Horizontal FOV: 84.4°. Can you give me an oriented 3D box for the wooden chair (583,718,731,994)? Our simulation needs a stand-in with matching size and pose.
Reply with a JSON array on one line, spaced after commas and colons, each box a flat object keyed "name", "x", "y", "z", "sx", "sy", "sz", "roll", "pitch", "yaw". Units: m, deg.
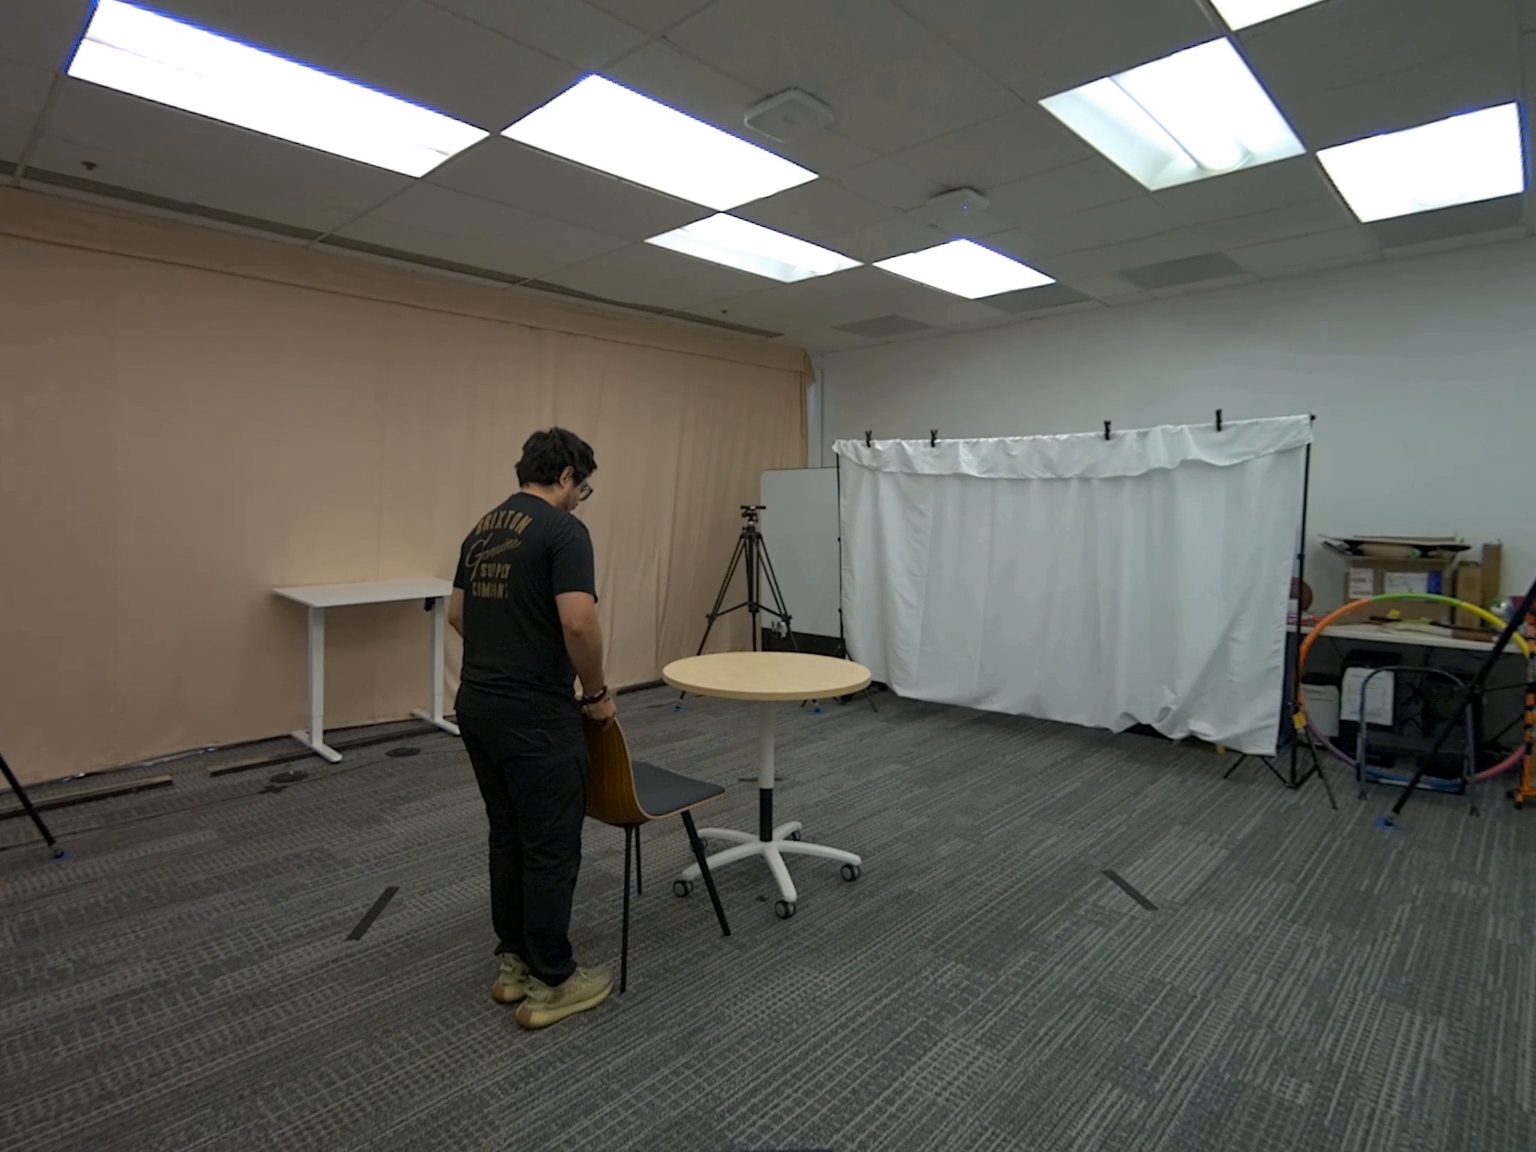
[{"name": "wooden chair", "x": -0.434, "y": 0.744, "z": 2.699, "sx": 0.494, "sy": 0.873, "sz": 0.508, "roll": 2, "pitch": 9, "yaw": 42}]
